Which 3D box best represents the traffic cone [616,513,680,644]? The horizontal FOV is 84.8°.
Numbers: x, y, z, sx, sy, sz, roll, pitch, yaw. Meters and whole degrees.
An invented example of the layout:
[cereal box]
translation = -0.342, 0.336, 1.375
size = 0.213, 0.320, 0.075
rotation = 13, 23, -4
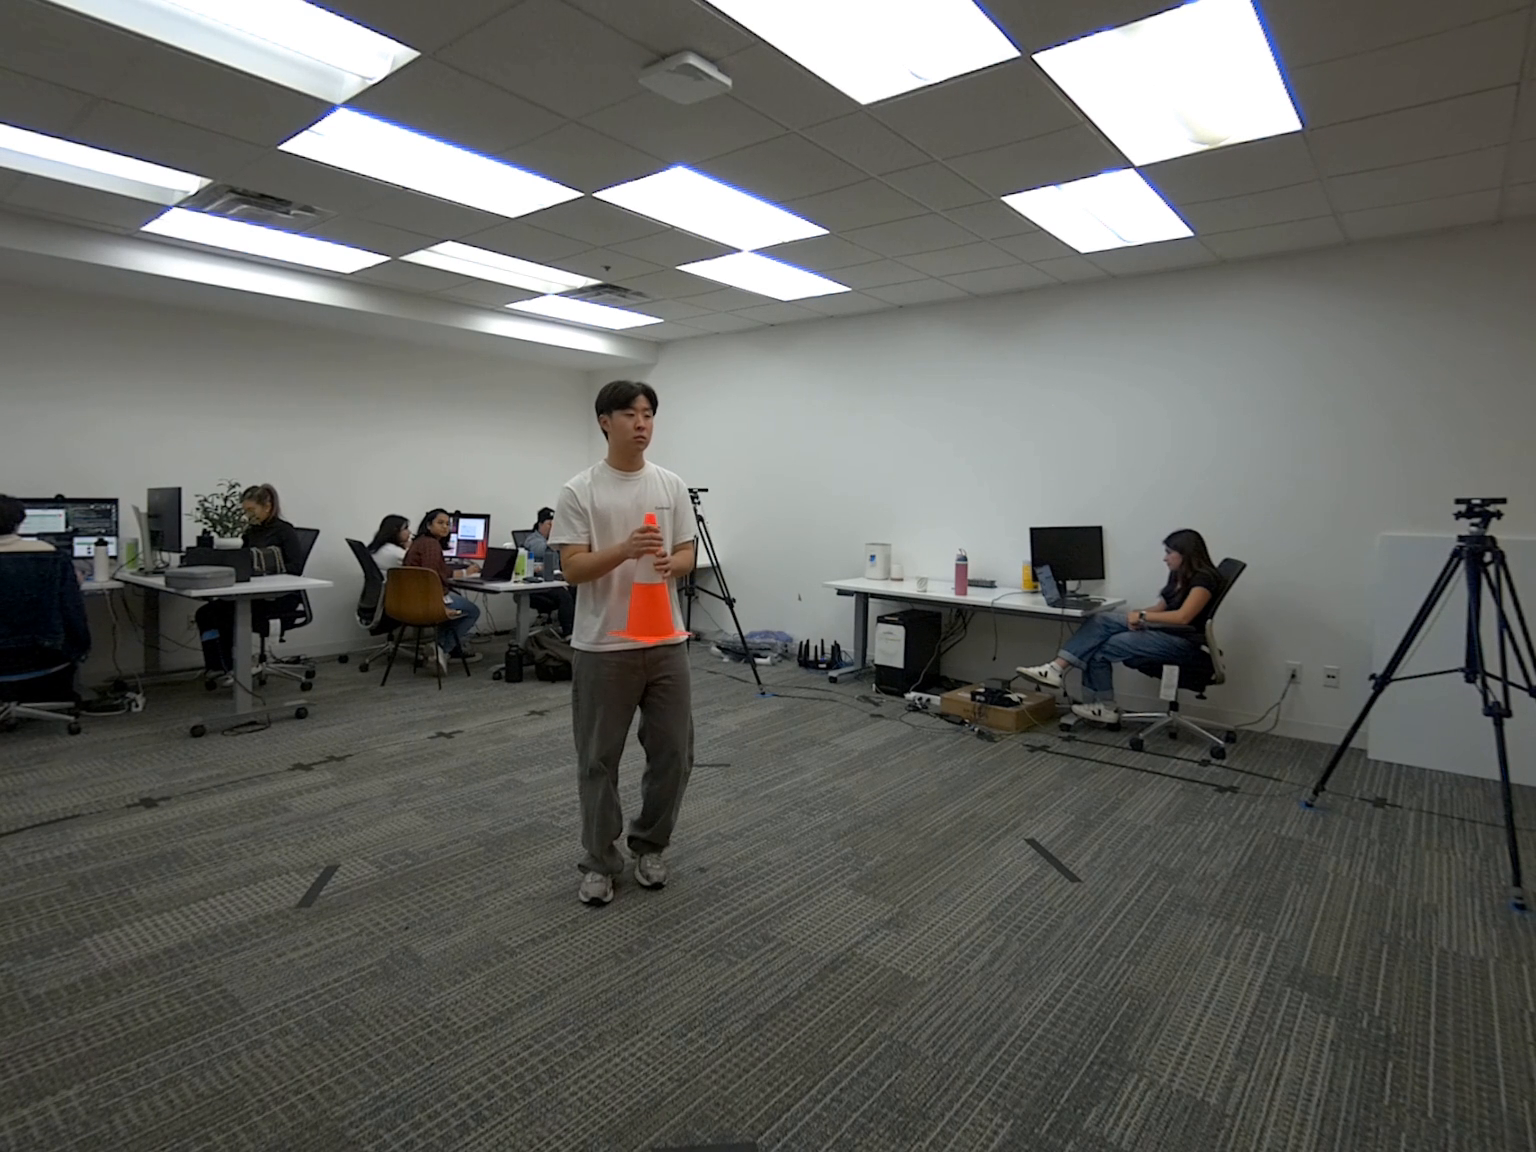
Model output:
[traffic cone]
translation = -0.371, -0.011, 2.691
size = 0.203, 0.381, 0.206
rotation = -1, 6, -2
